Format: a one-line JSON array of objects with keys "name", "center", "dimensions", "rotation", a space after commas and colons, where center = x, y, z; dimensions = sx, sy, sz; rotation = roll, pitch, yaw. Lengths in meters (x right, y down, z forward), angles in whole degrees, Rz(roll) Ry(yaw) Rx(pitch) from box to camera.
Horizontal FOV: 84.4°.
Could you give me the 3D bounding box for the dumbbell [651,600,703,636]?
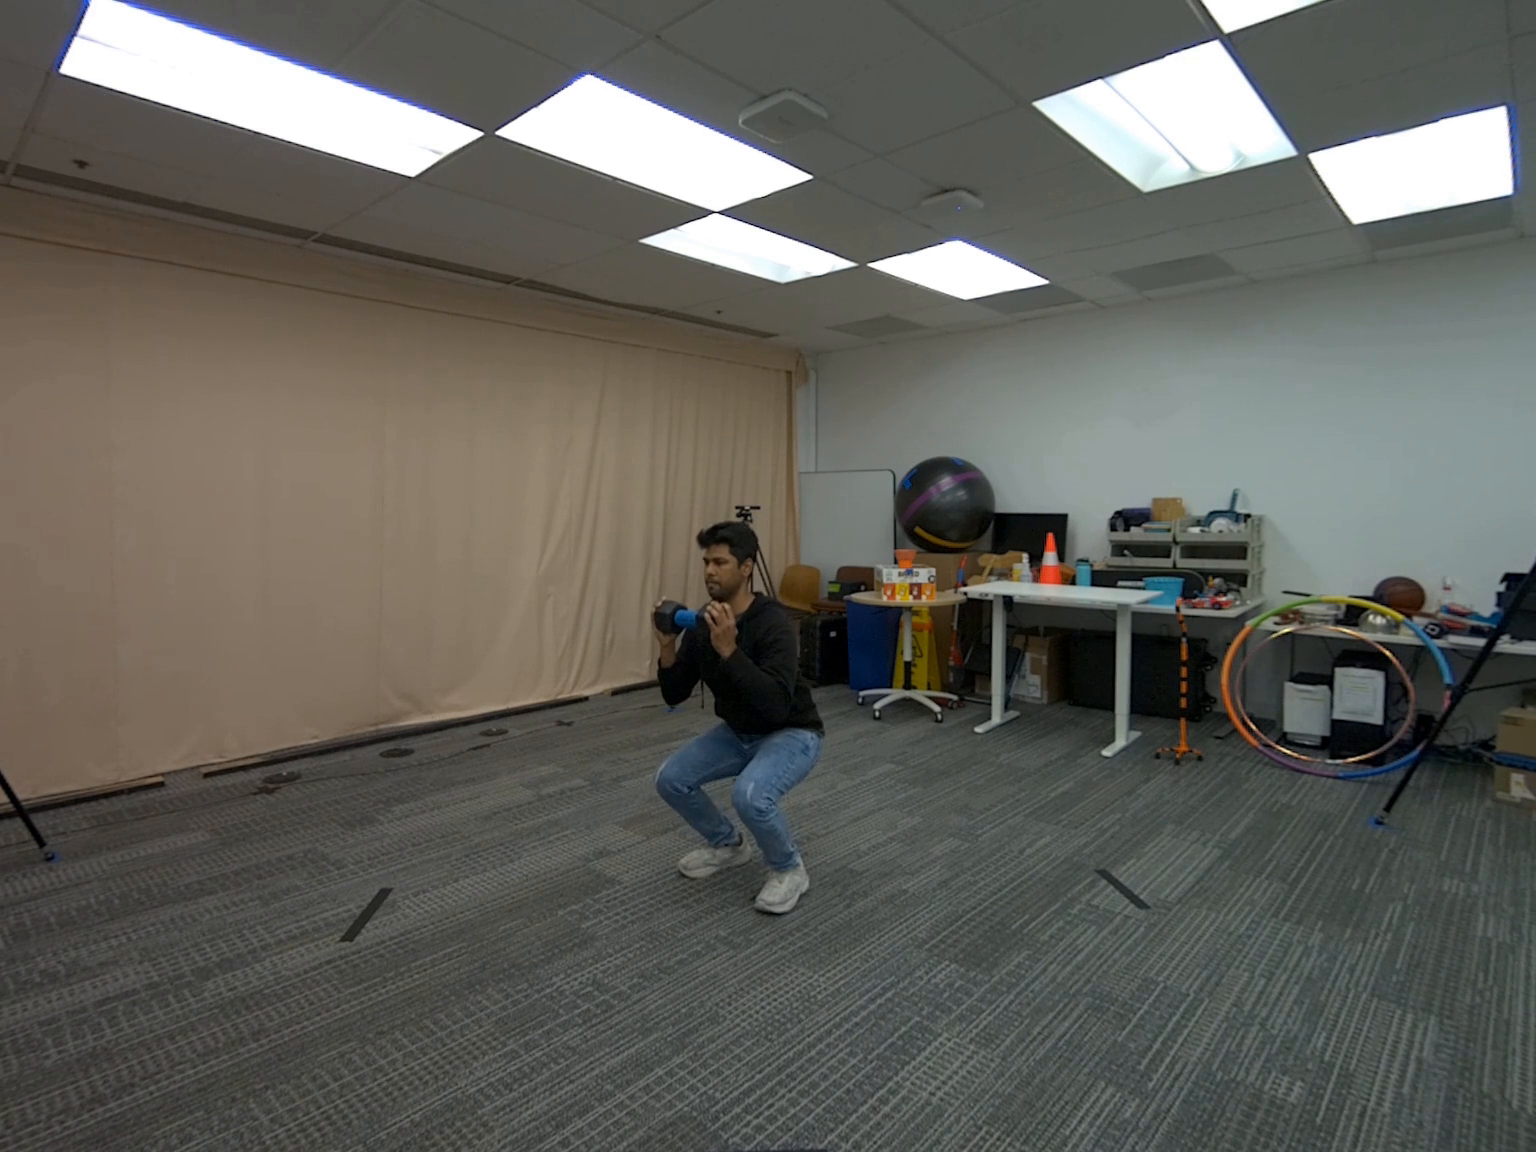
[{"name": "dumbbell", "center": [-0.249, 0.147, 2.899], "dimensions": [0.303, 0.122, 0.106], "rotation": [3, 11, 44]}]
